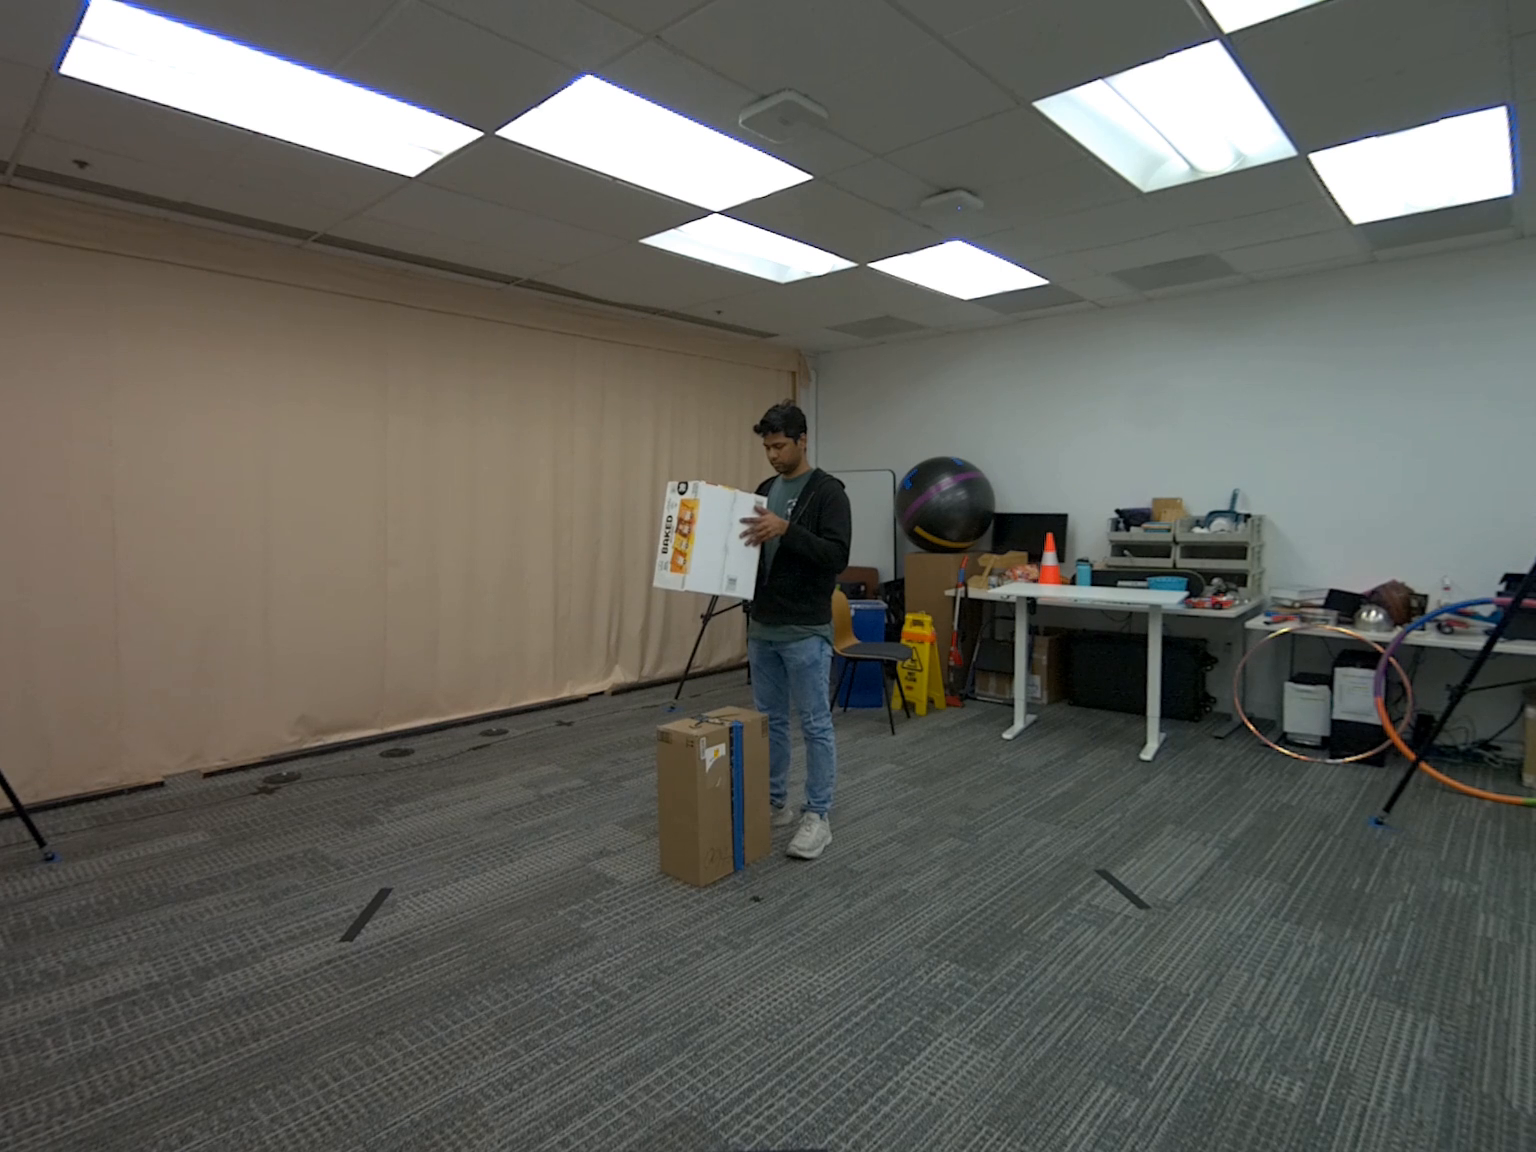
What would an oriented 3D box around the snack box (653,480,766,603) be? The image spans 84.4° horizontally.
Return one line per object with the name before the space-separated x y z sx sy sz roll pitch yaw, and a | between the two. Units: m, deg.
snack box | -0.213 -0.119 3.227 0.329 0.406 0.212 10 -4 -40
